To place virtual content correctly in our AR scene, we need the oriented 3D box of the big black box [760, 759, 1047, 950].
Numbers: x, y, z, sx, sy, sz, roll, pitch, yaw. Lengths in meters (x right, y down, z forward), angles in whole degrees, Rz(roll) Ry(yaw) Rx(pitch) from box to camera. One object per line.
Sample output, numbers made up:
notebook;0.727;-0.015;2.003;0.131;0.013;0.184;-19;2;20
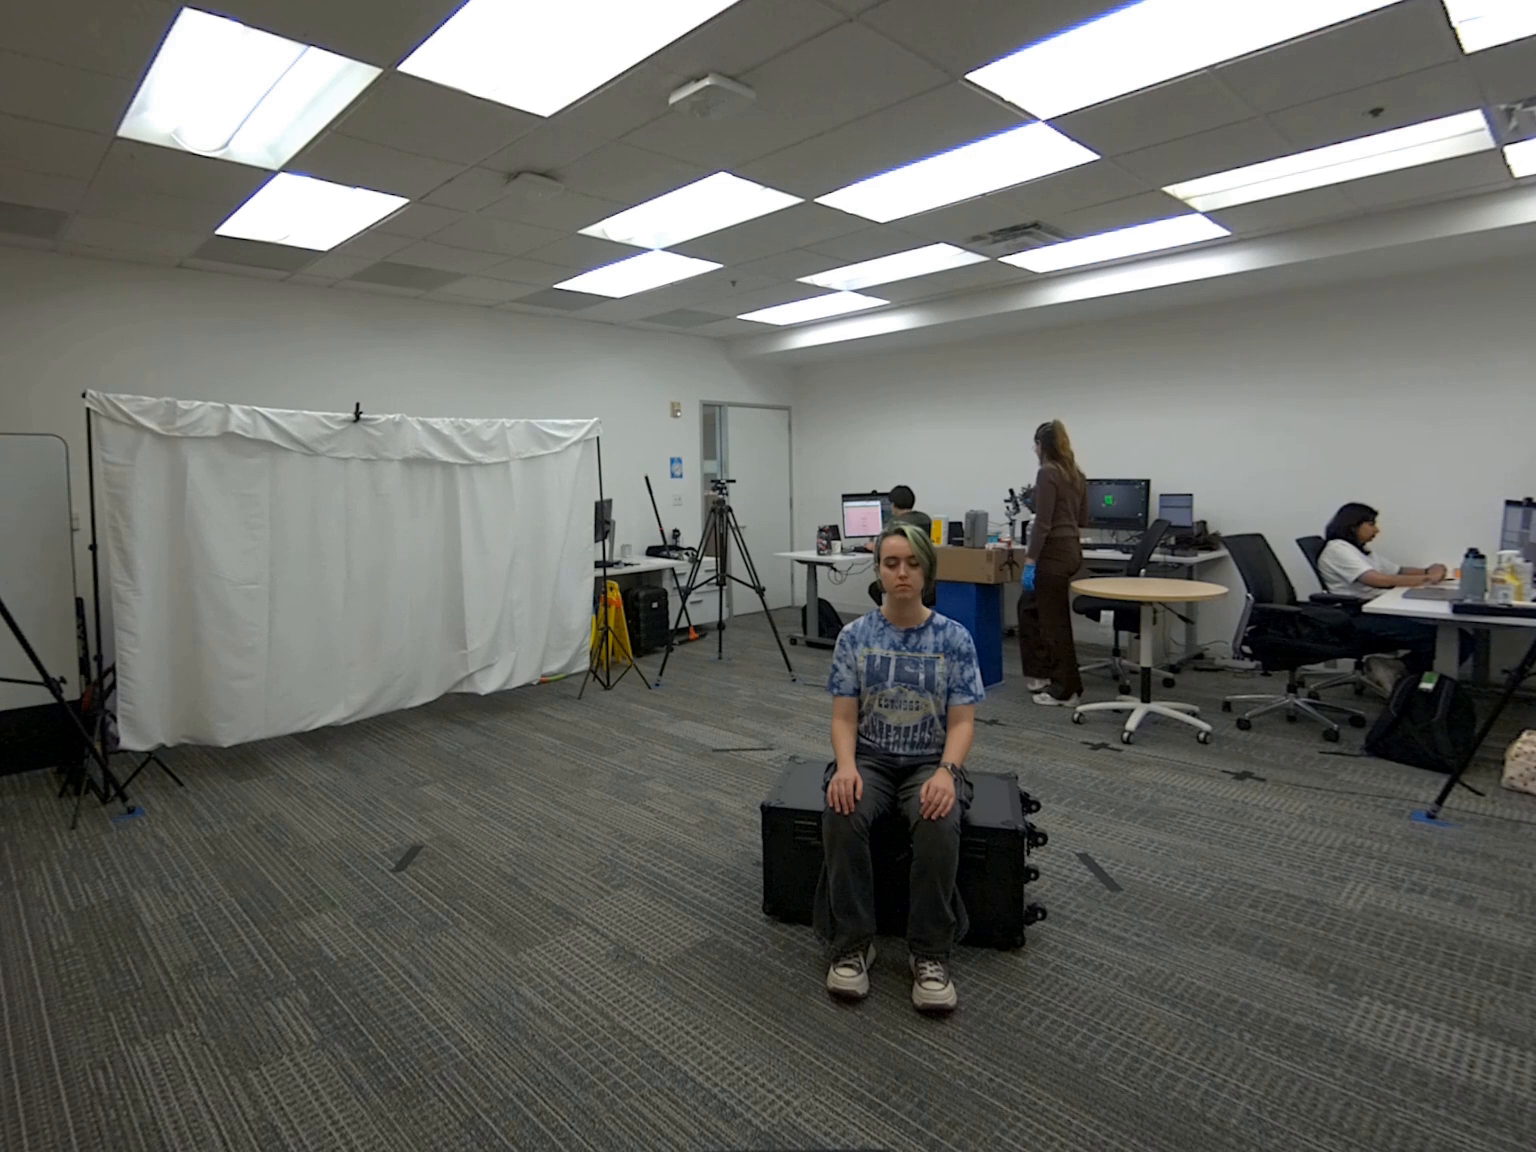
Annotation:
big black box;0.448;0.883;2.801;0.874;0.395;0.516;0;5;14
